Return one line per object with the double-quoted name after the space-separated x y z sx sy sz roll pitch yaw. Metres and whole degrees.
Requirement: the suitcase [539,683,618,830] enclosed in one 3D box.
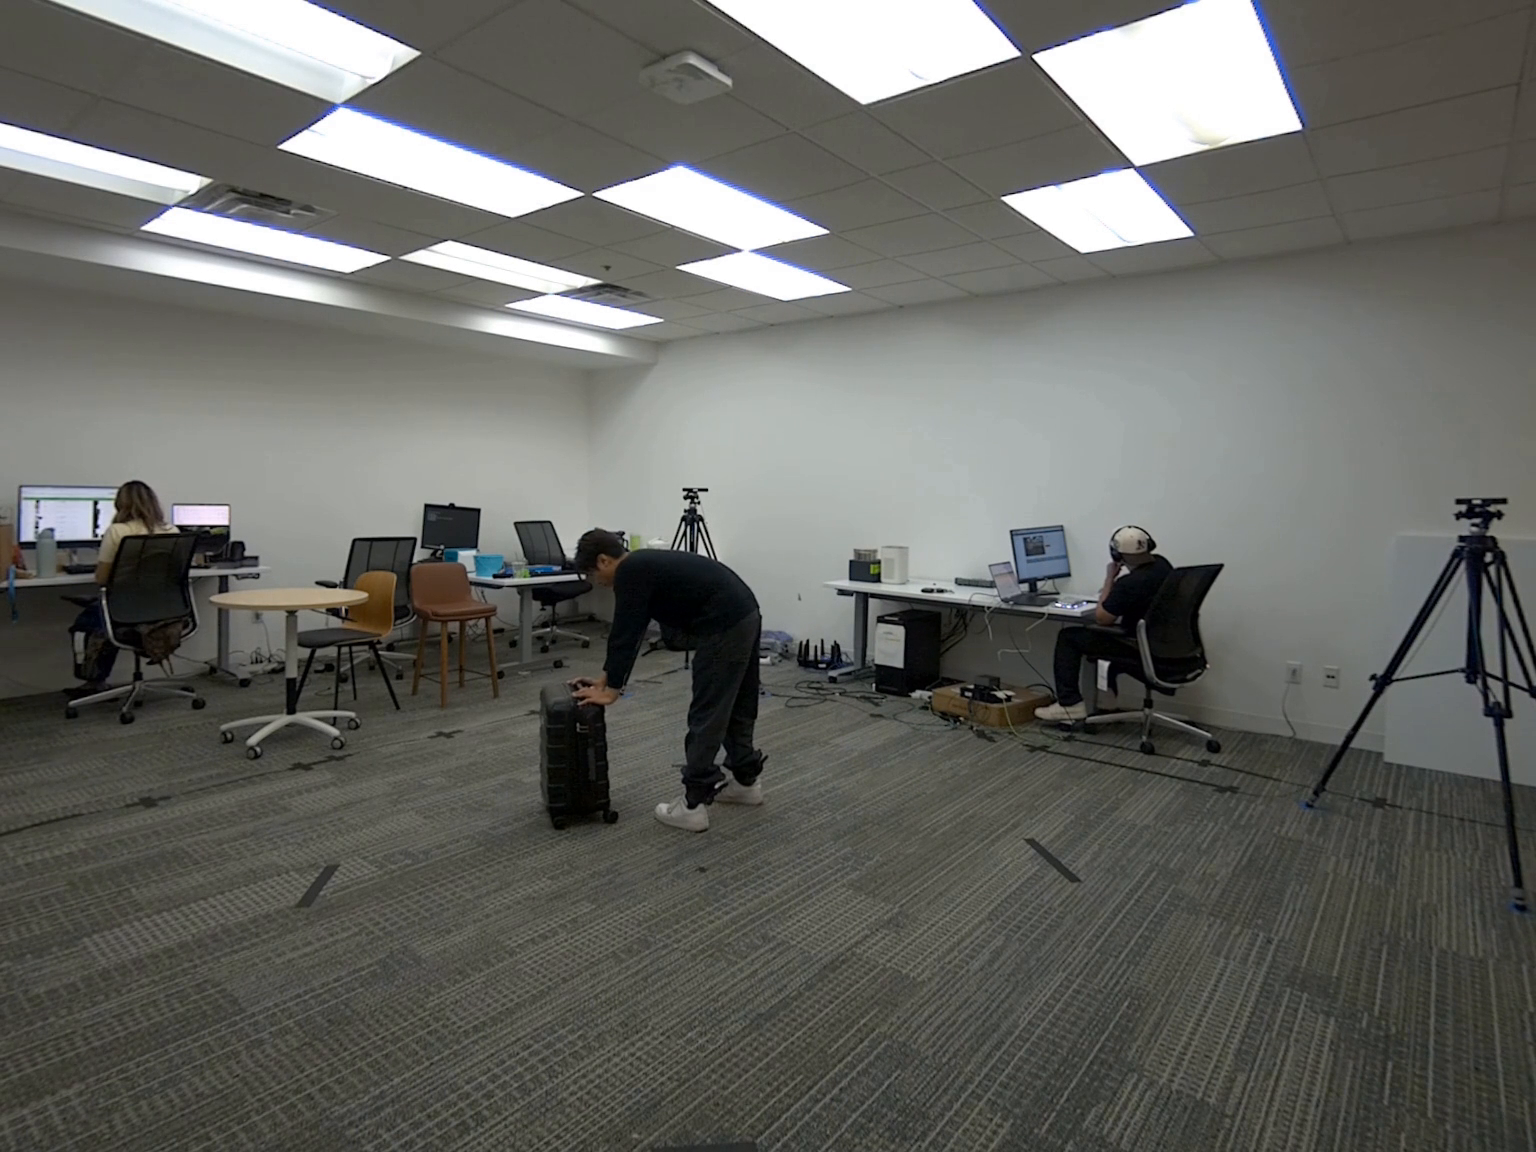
-0.844 0.740 3.617 0.243 0.547 0.384 -3 5 -21 "suitcase"
